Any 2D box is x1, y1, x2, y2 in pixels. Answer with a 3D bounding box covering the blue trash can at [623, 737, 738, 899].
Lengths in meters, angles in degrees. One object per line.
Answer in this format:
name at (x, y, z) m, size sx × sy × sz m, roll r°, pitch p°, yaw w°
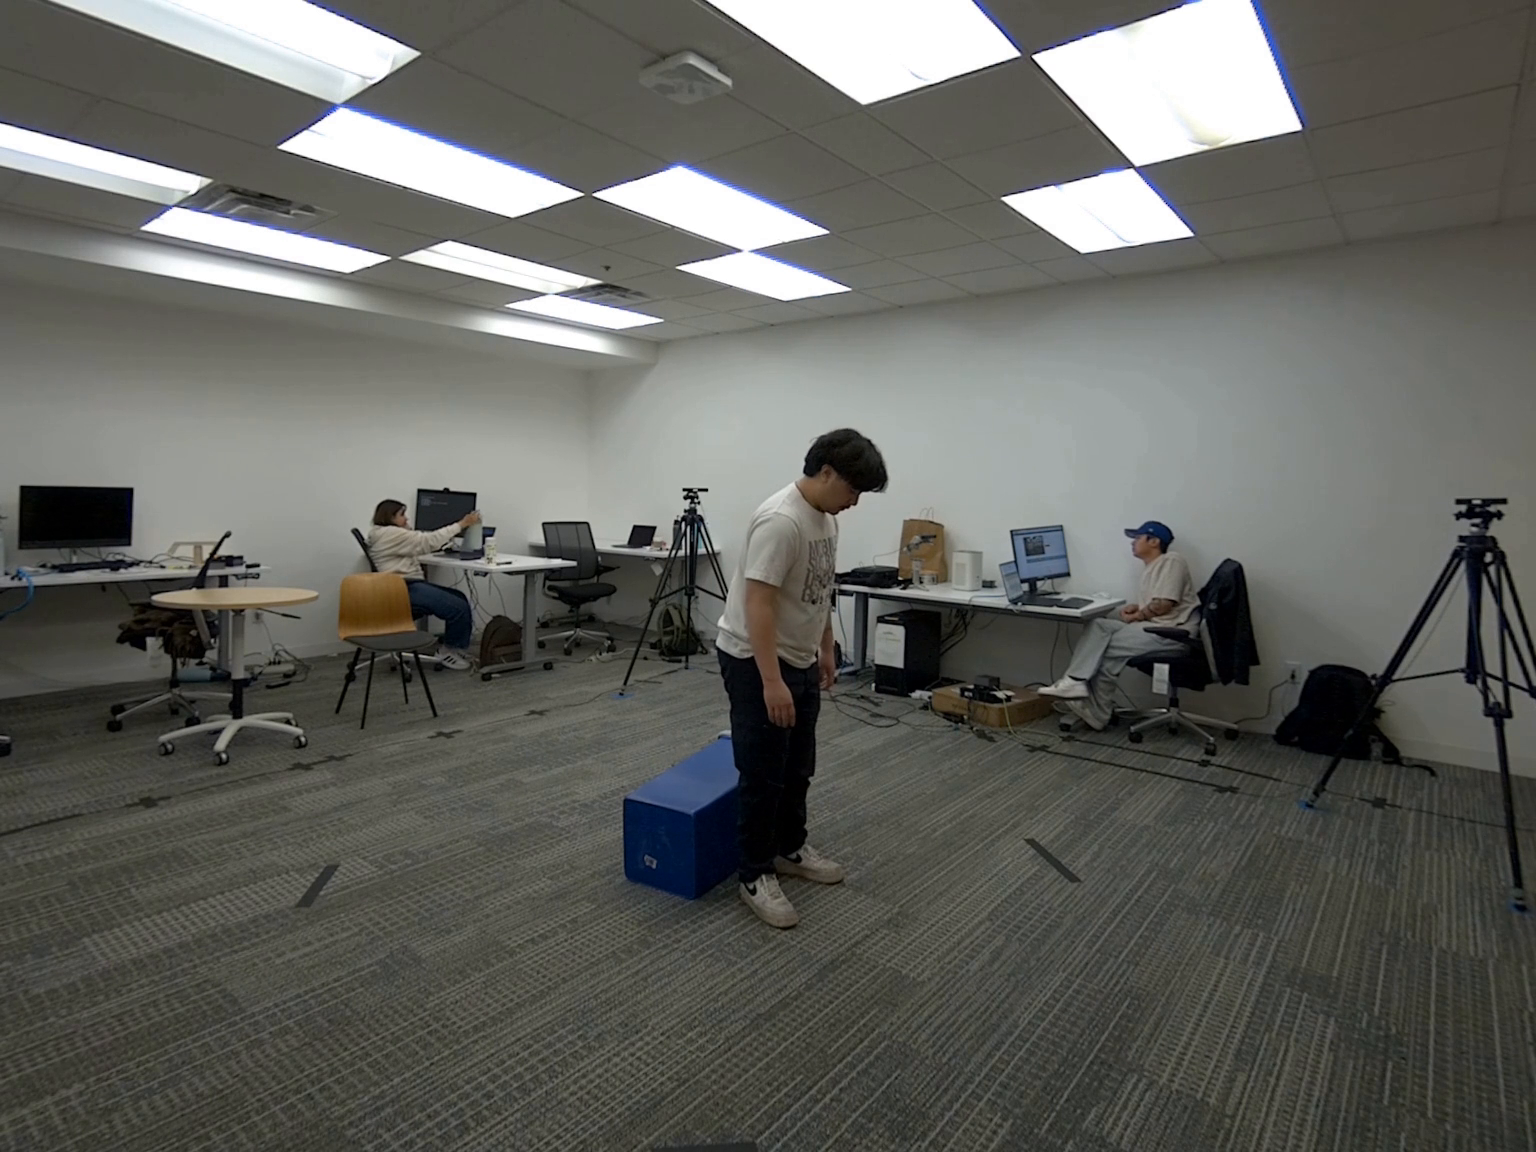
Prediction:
blue trash can at (-0.226, 0.894, 3.232) m, size 0.389 × 0.371 × 0.698 m, roll 4°, pitch 9°, yaw 29°
